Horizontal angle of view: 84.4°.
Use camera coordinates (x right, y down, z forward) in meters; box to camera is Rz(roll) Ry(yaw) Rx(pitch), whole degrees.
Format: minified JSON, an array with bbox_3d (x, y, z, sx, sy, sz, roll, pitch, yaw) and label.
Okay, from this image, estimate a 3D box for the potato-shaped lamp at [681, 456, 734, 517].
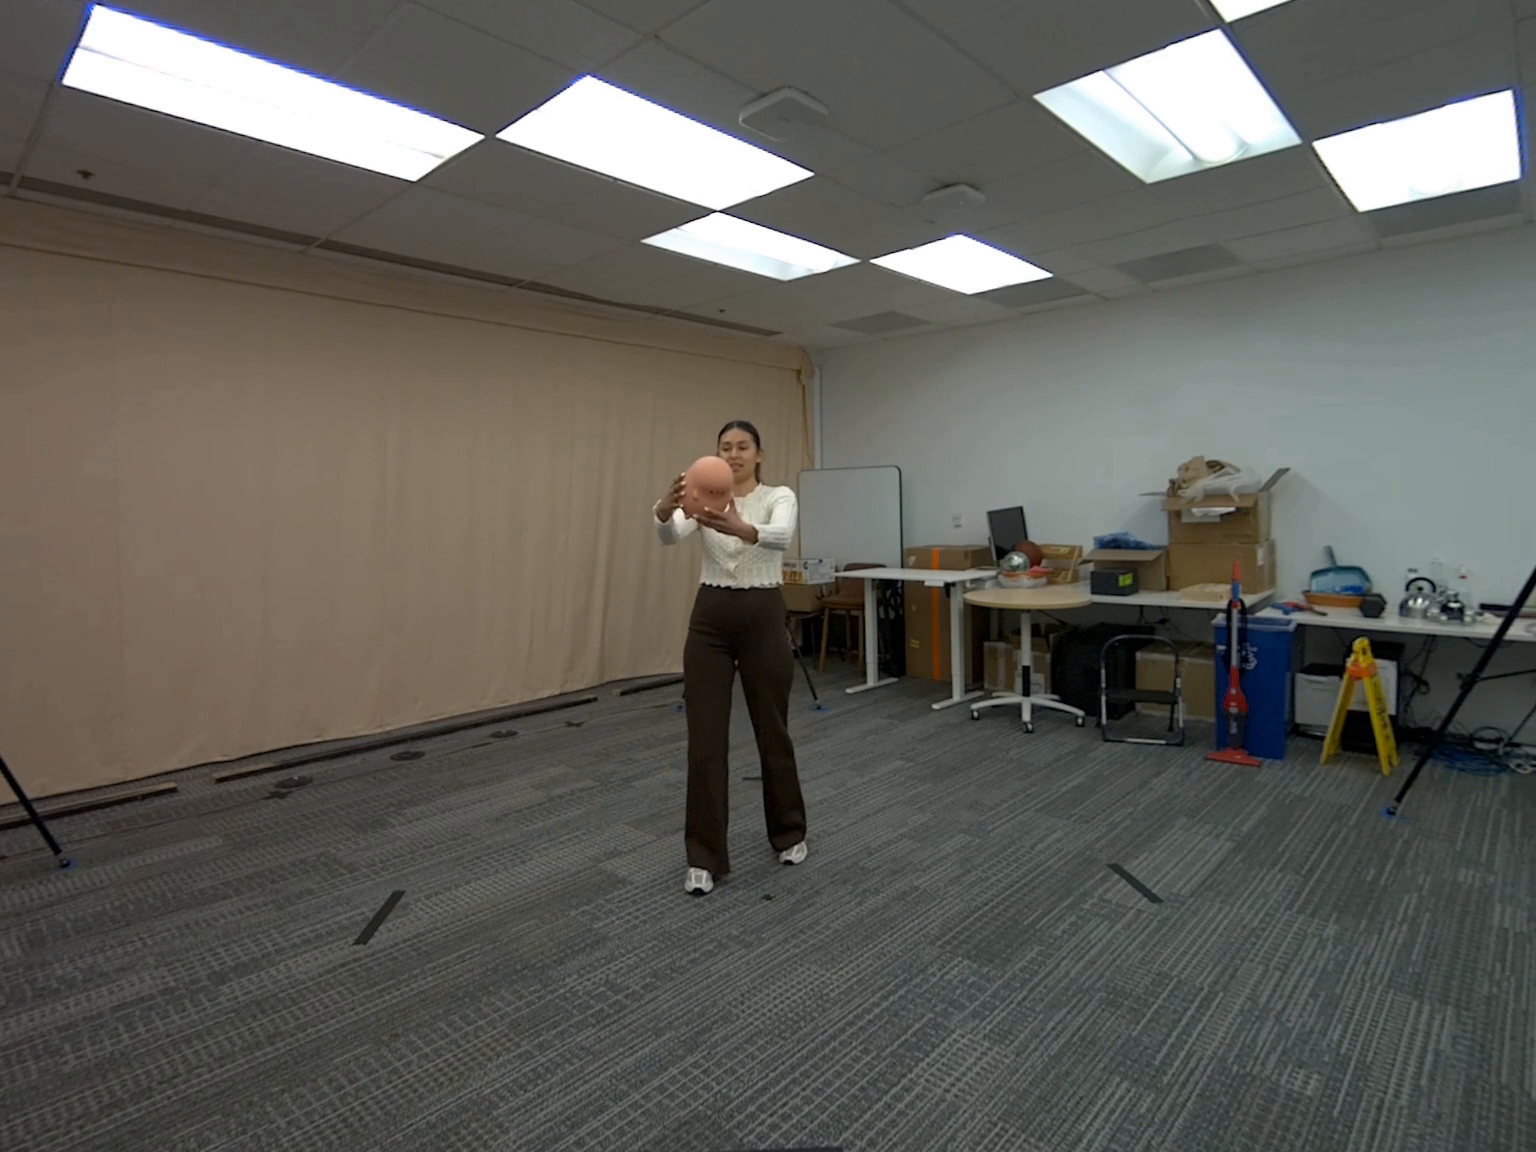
[{"bbox_3d":[-0.194,-0.279,2.649,0.161,0.175,0.198,5,-37,-24],"label":"potato-shaped lamp"}]
